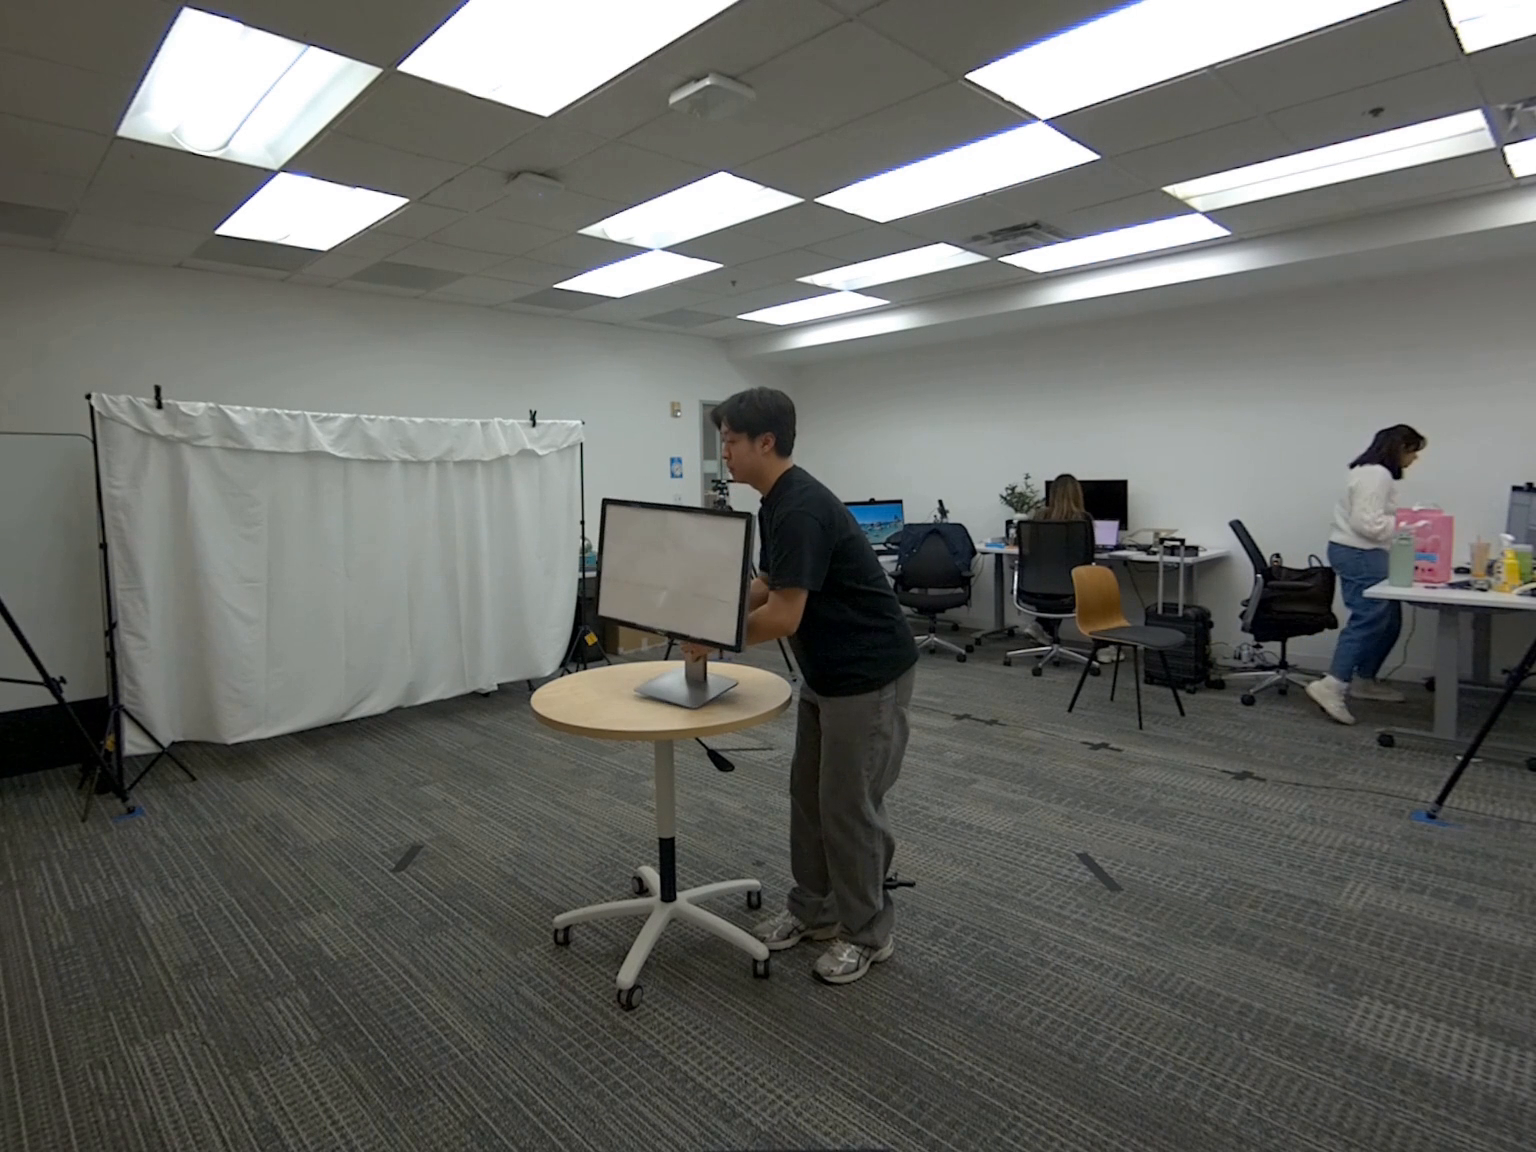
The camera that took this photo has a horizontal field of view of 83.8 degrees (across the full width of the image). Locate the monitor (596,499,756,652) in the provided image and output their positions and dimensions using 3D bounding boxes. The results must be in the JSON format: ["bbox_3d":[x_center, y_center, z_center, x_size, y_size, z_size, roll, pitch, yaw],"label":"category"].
[{"bbox_3d":[-0.244,0.078,2.400,0.580,0.558,0.218,8,18,39],"label":"monitor"}]
